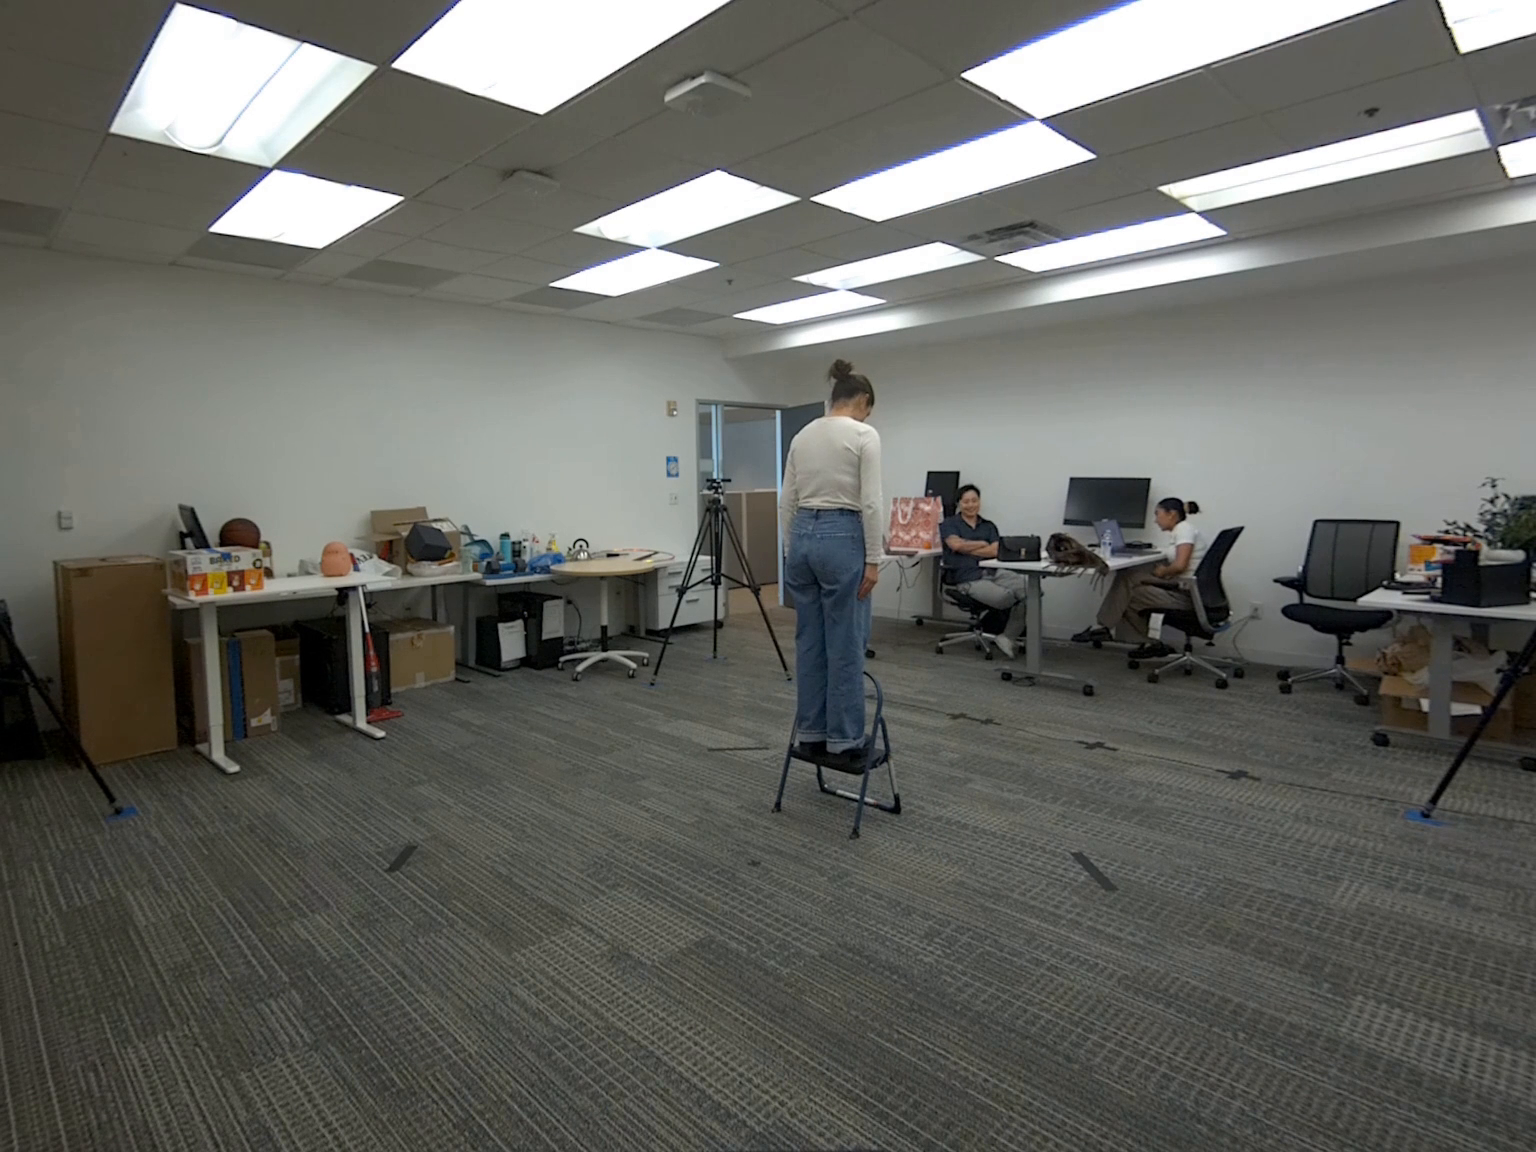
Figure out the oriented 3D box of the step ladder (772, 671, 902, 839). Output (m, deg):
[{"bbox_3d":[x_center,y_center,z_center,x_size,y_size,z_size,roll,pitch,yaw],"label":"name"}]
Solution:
[{"bbox_3d":[0.288,0.687,3.551,0.444,0.604,0.340,4,5,42],"label":"step ladder"}]
